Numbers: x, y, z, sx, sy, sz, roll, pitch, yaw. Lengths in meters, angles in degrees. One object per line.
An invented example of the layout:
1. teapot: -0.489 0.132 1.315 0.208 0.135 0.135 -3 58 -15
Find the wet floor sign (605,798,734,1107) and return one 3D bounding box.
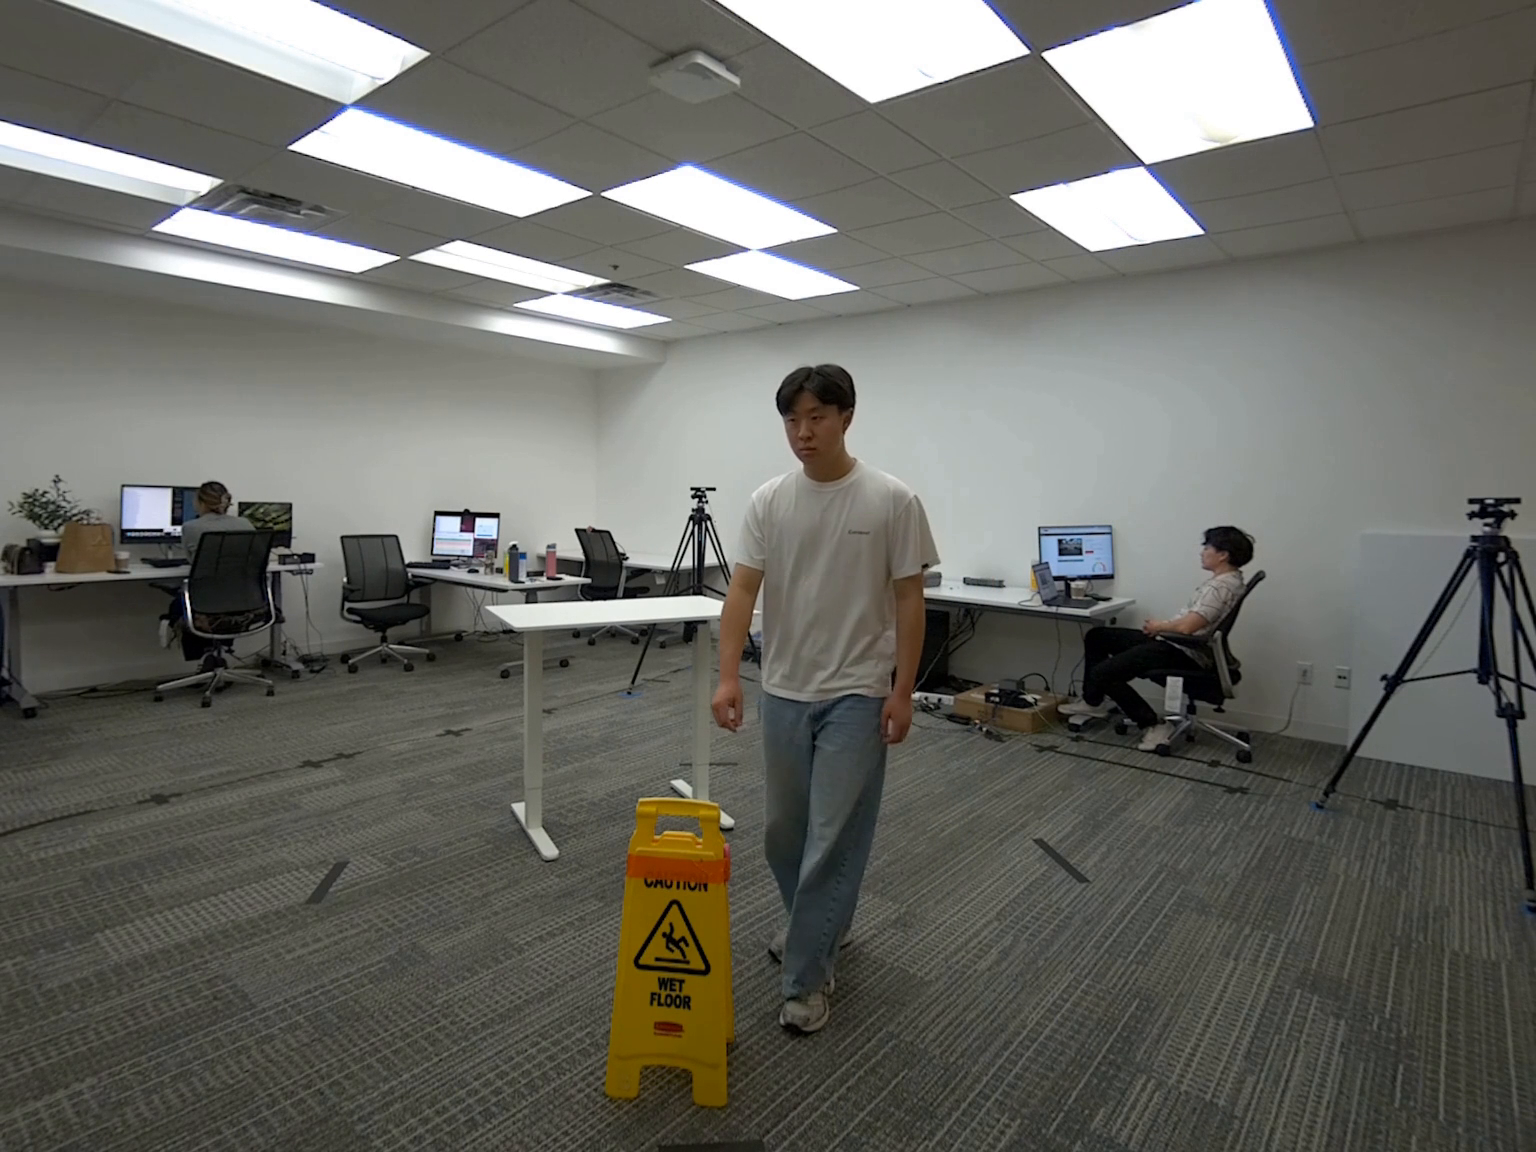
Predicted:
1. wet floor sign: -0.222 0.847 2.021 0.284 0.644 0.289 0 4 4
